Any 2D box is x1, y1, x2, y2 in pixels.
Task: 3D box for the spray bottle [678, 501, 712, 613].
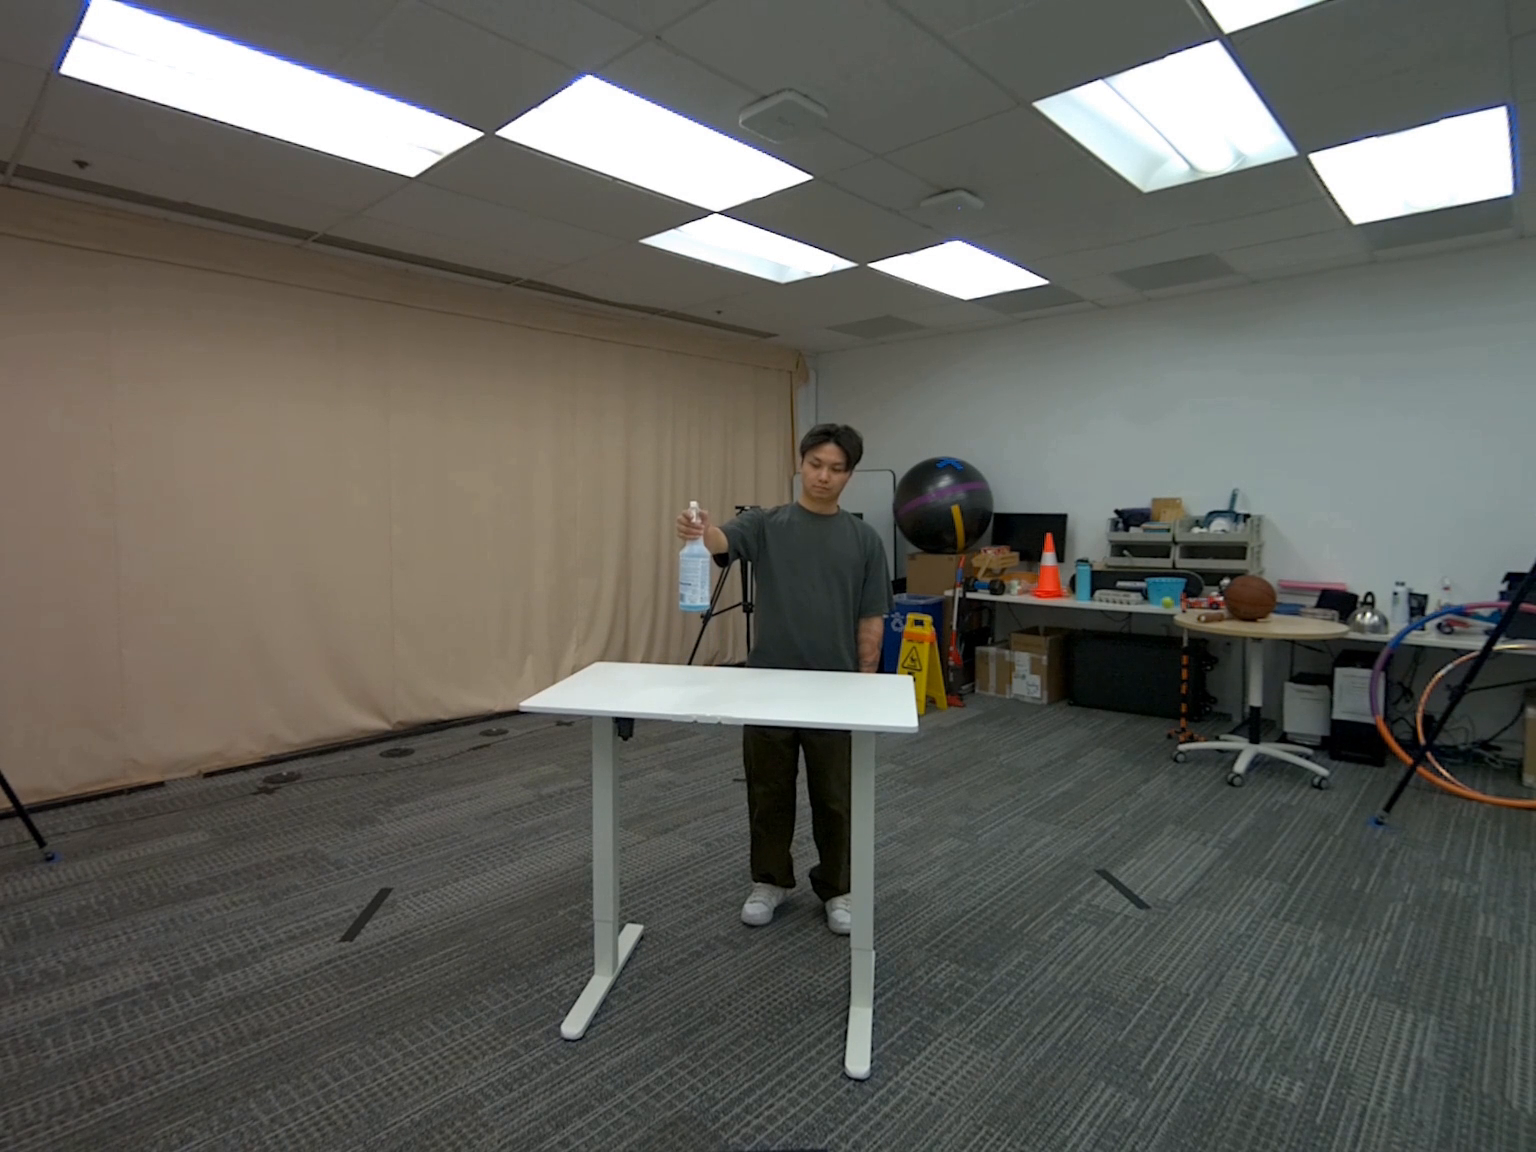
[{"bbox_3d":[-0.204,-0.053,2.326,0.089,0.297,0.087,2,2,29],"label":"spray bottle"}]
